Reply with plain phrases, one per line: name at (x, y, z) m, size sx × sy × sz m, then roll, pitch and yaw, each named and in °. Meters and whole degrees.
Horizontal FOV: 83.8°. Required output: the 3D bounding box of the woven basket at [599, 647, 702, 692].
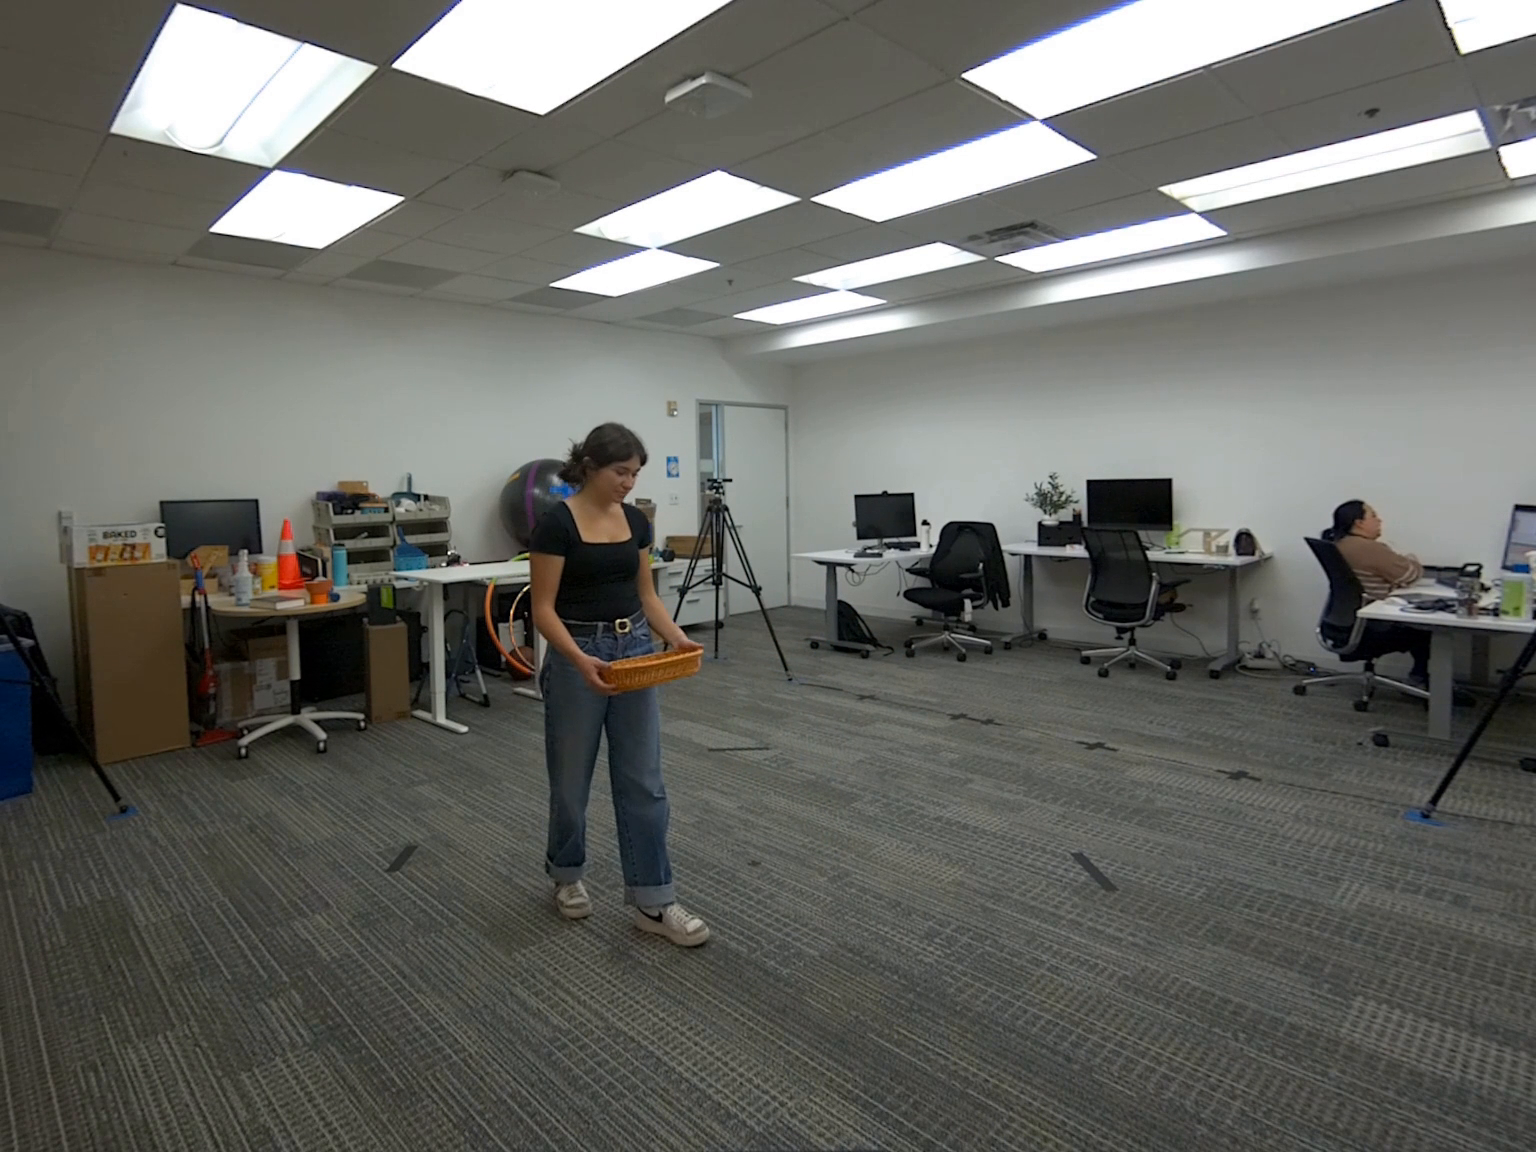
woven basket at (-0.366, 0.281, 2.502) m, size 0.342 × 0.073 × 0.258 m, roll -9°, pitch 1°, yaw -40°
